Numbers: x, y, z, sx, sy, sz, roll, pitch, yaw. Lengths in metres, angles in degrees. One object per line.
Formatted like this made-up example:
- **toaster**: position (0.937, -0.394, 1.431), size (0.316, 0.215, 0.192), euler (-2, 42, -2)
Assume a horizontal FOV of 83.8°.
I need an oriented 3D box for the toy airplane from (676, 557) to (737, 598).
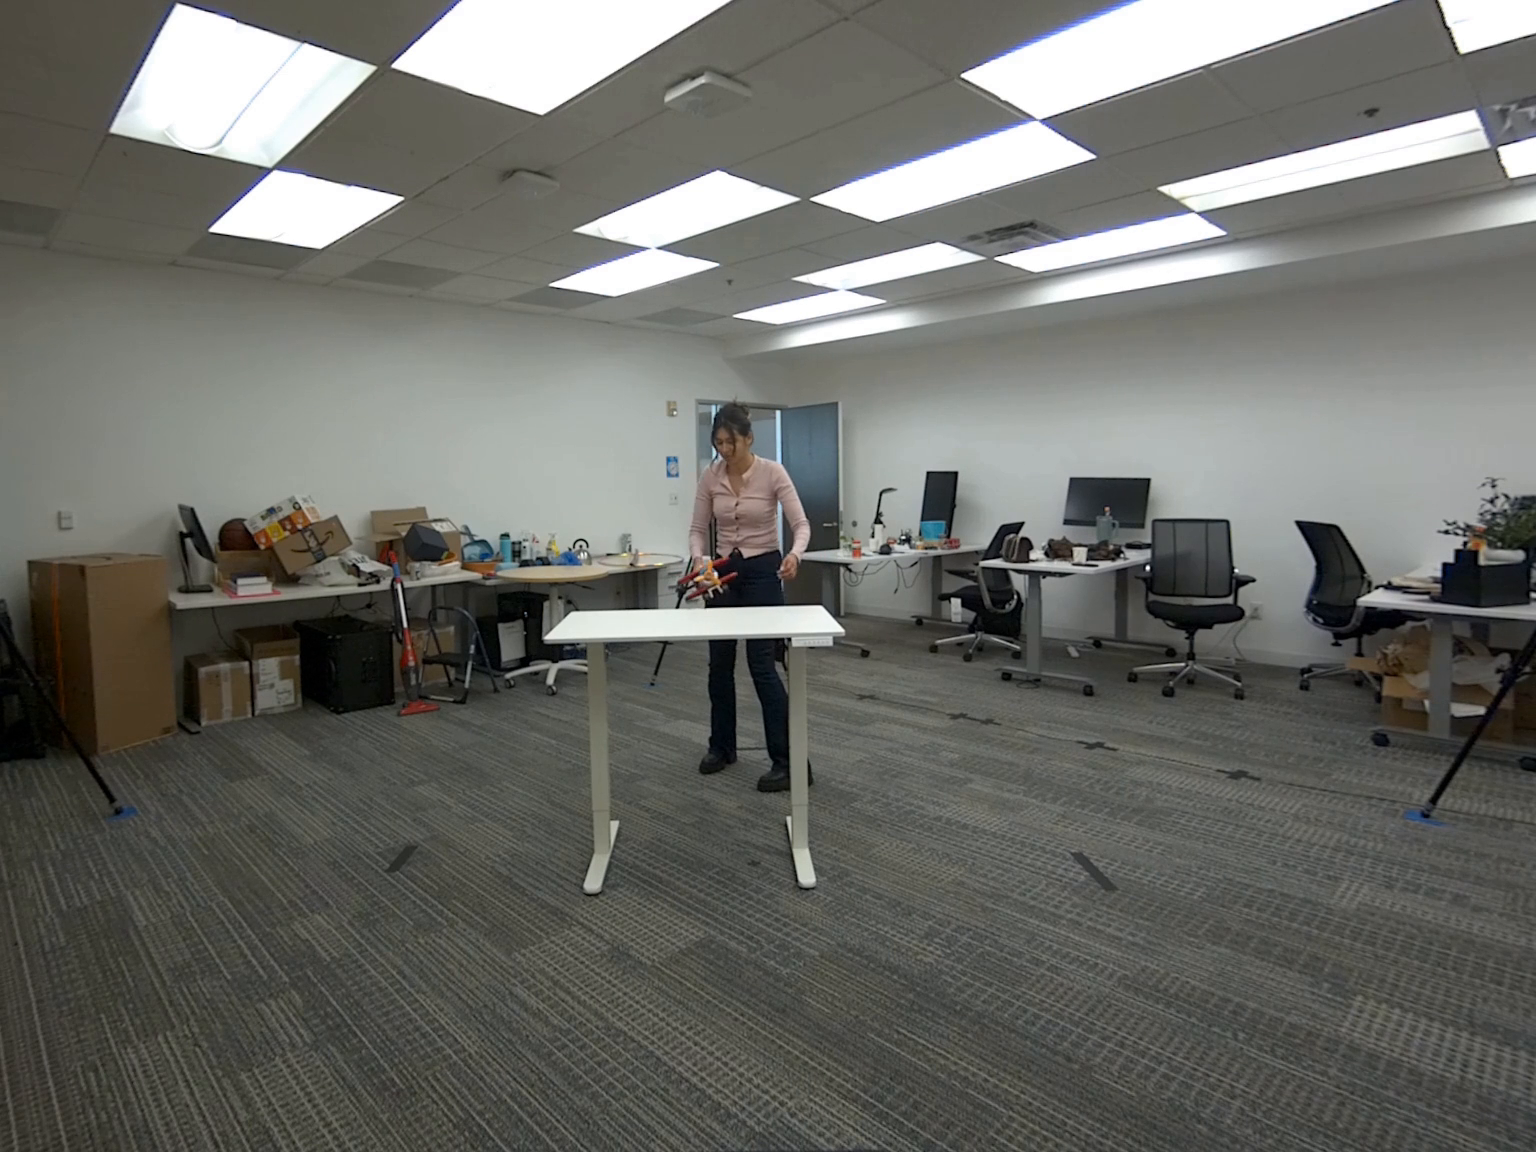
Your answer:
- **toy airplane**: position (-0.280, 0.038, 3.777), size (0.248, 0.156, 0.263), euler (-27, 3, -37)
